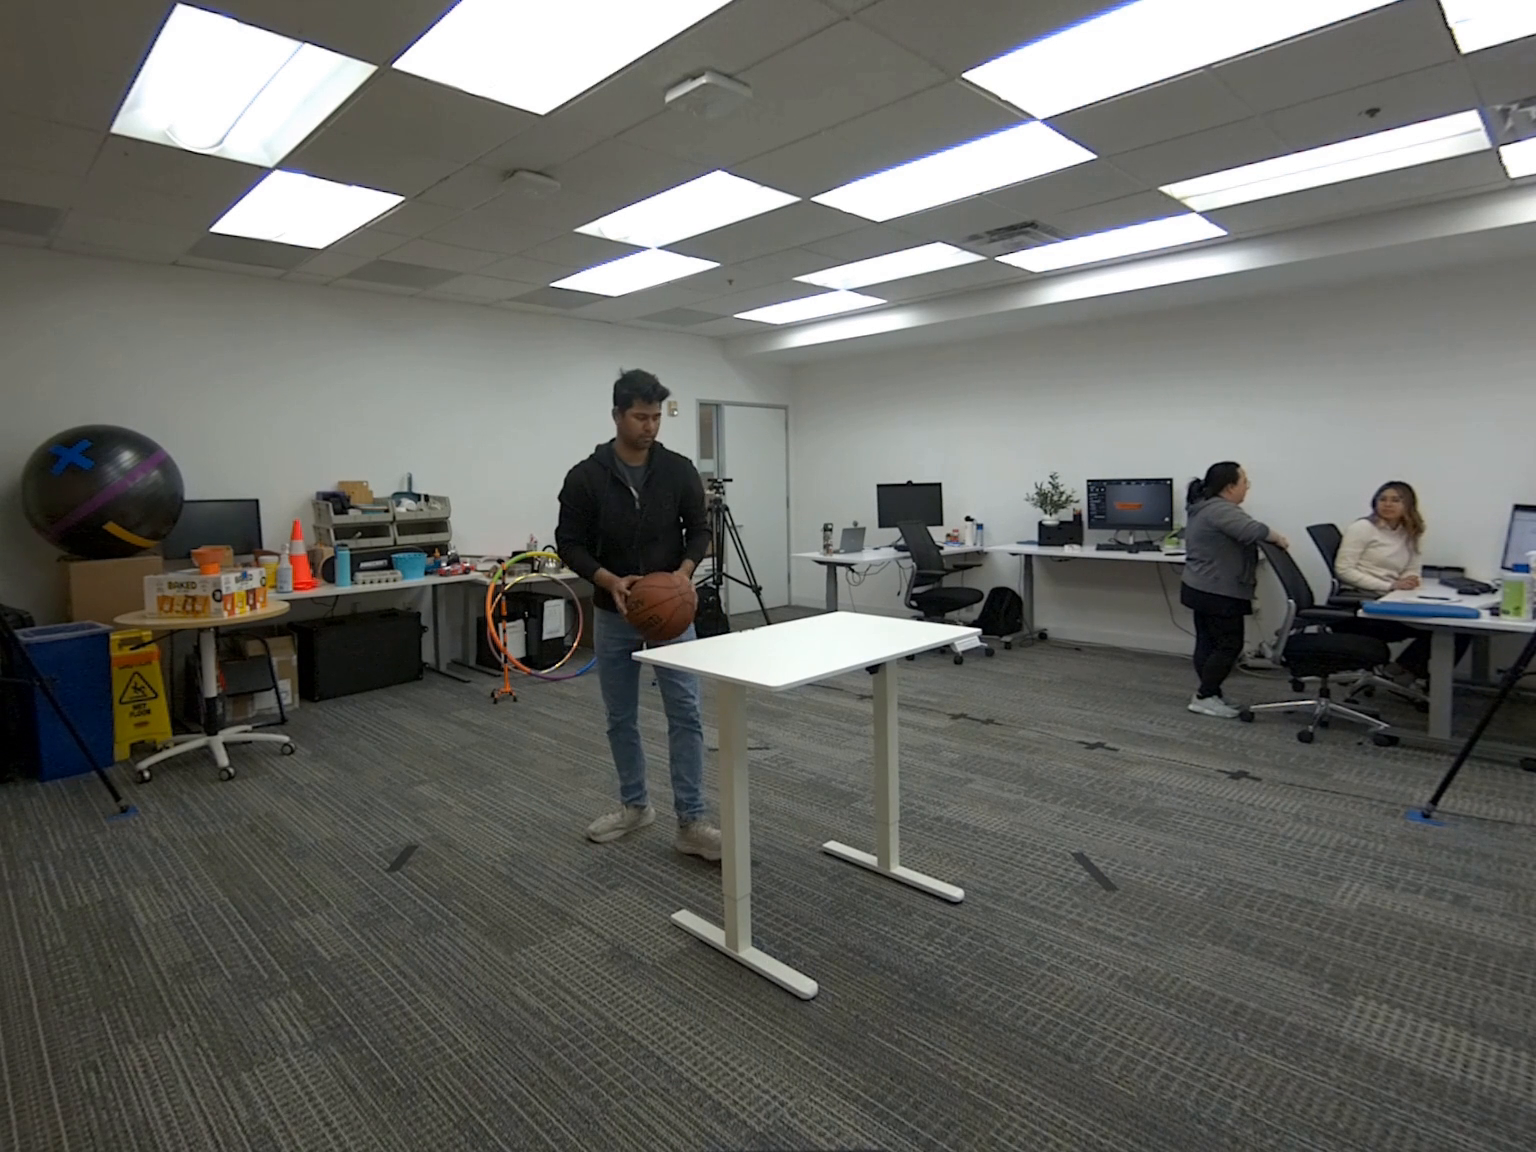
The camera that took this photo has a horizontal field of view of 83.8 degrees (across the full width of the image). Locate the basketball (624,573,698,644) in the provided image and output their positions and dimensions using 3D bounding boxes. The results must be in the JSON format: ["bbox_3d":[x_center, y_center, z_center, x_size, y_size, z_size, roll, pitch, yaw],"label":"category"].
[{"bbox_3d":[-0.371,0.111,2.950,0.236,0.235,0.237,-1,5,-2],"label":"basketball"}]
